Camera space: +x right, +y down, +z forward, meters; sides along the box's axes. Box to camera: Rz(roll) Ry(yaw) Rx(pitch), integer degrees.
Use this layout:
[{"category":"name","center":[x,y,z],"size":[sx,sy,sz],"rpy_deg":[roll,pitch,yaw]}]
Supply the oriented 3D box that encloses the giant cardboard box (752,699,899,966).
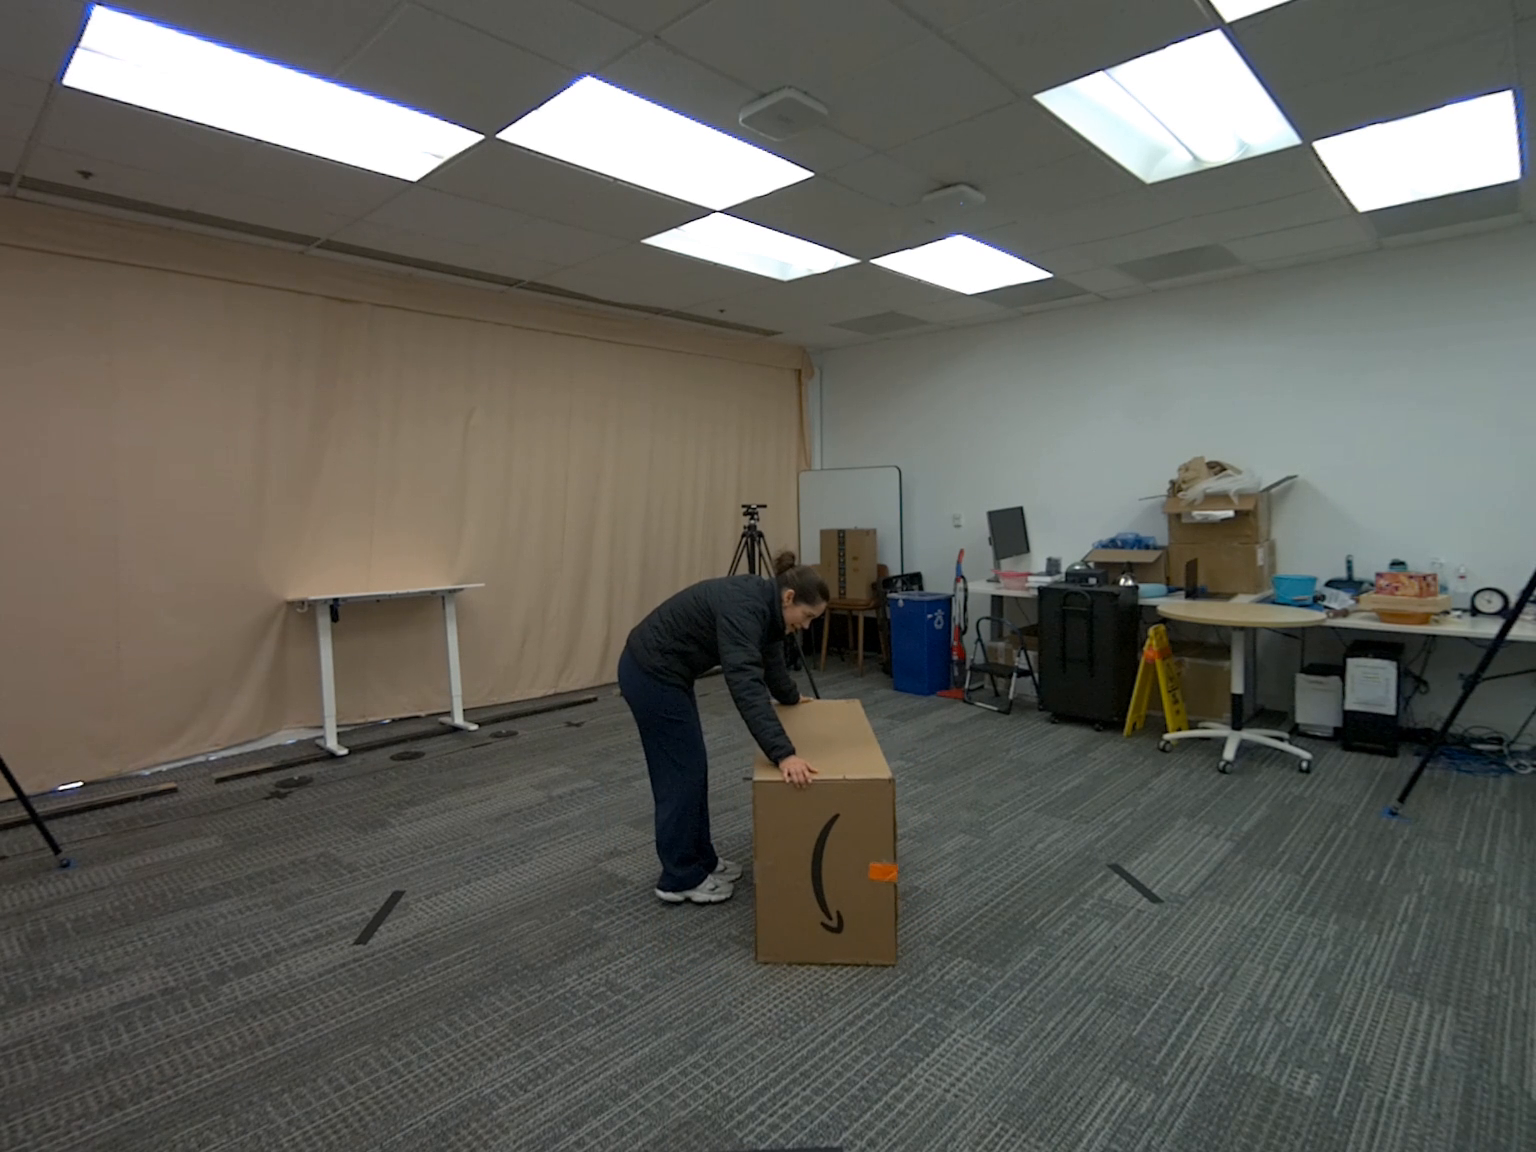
[{"category":"giant cardboard box","center":[0.199,0.846,3.030],"size":[0.448,0.582,1.026],"rpy_deg":[-3,4,2]}]
